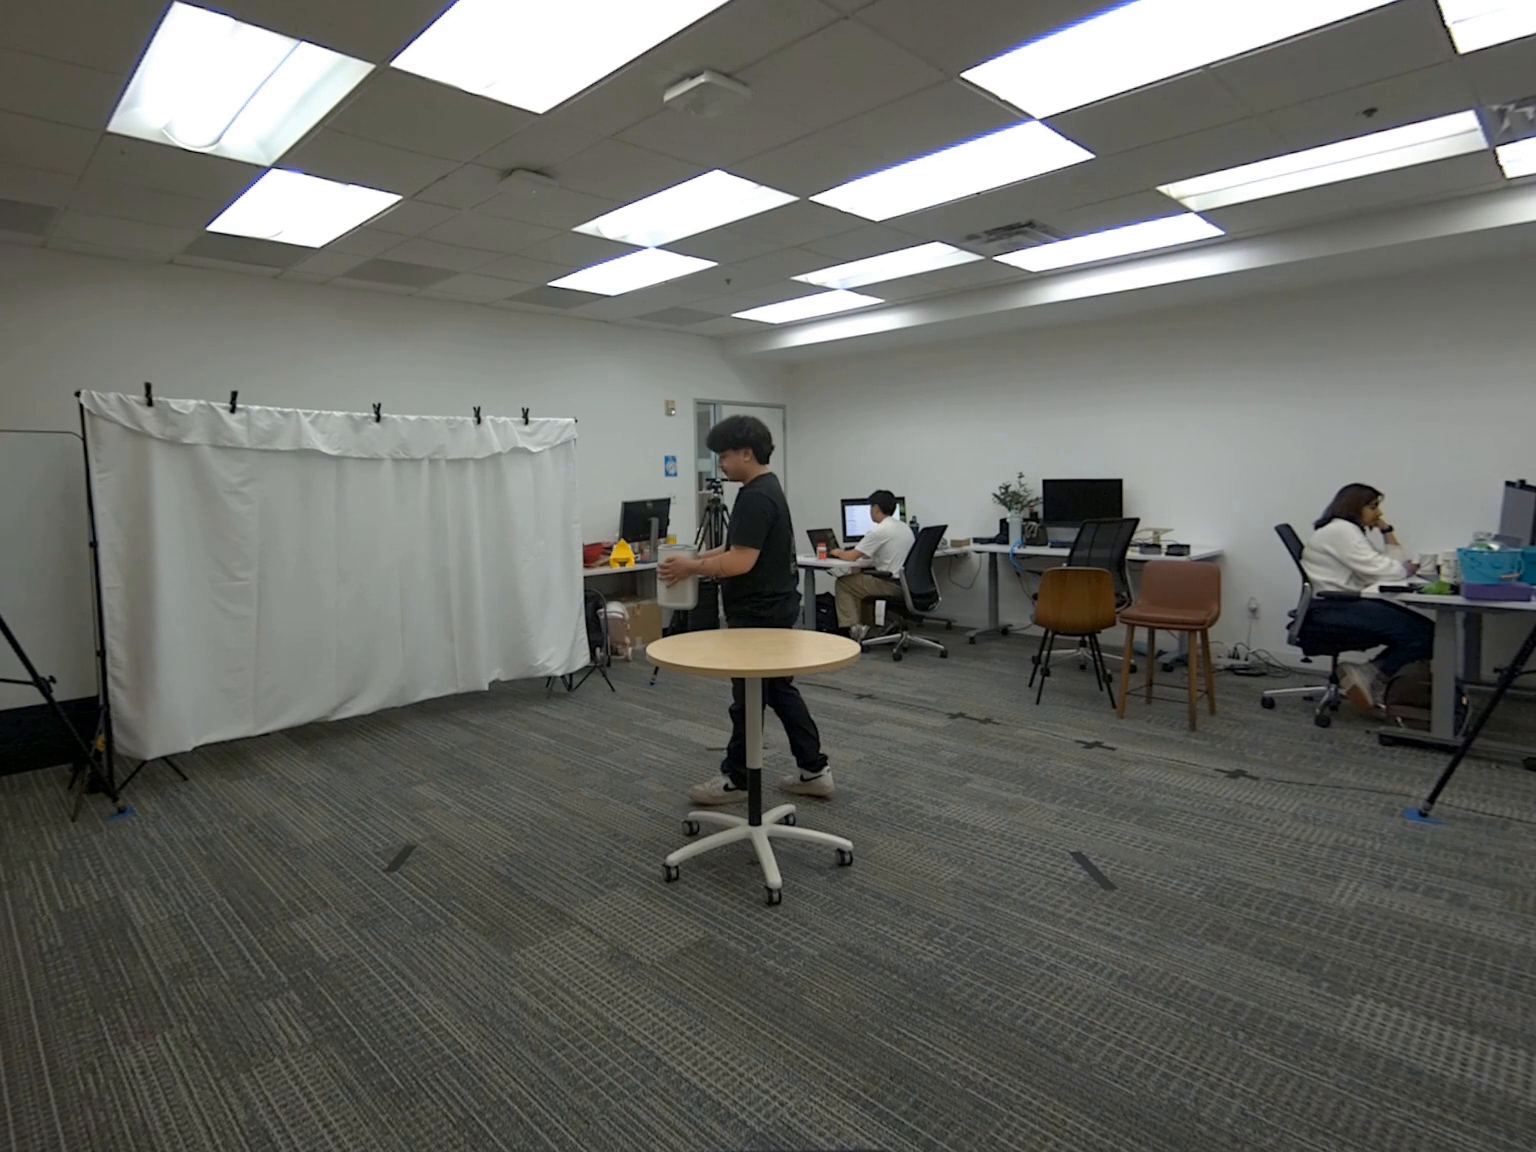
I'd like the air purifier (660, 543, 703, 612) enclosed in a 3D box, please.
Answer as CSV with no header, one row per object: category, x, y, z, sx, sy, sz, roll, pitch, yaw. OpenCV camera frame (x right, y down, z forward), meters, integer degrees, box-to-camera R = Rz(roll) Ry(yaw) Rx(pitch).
air purifier,-0.377,0.002,3.713,0.171,0.263,0.173,-1,9,-4
